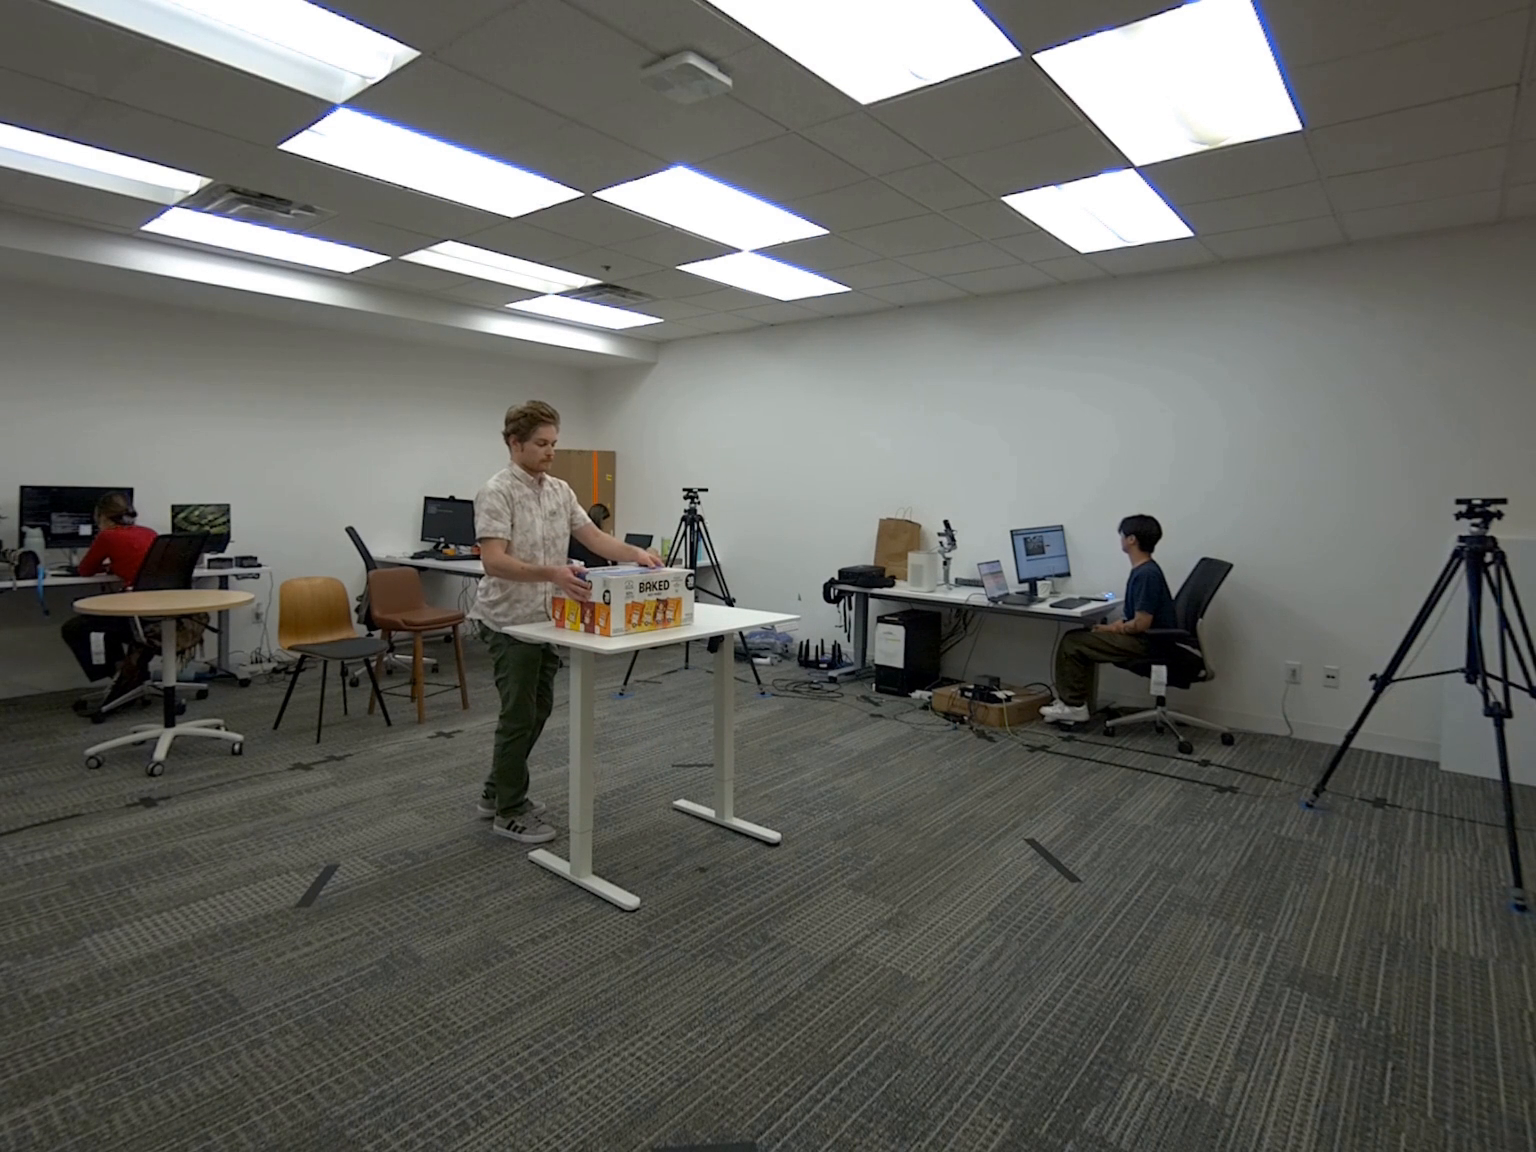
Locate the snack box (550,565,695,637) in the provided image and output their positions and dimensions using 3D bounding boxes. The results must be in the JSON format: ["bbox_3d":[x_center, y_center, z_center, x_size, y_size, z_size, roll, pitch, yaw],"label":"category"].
[{"bbox_3d":[-0.542,0.078,3.128,0.352,0.205,0.393,5,7,40],"label":"snack box"}]
